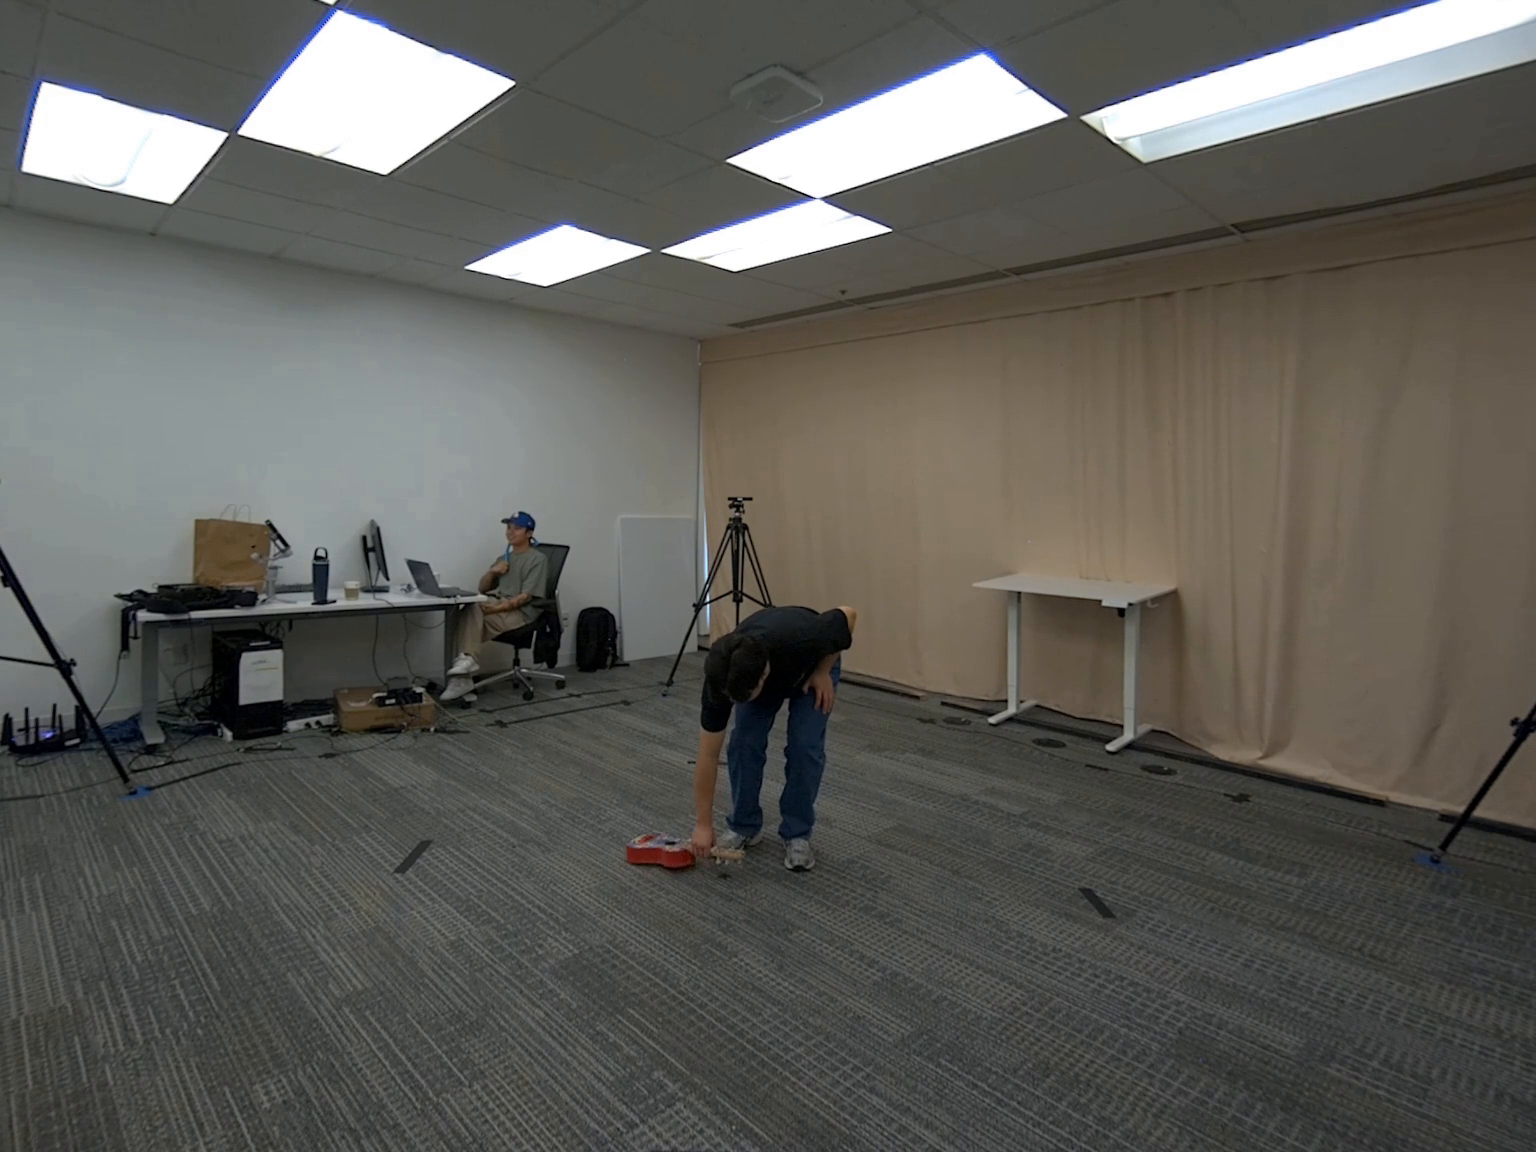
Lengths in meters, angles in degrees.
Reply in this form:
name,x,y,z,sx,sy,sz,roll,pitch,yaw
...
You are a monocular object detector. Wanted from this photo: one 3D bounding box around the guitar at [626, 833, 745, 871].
name,x,y,z,sx,sy,sz,roll,pitch,yaw
guitar,-0.325,1.039,3.133,0.509,0.071,0.188,-3,0,40
